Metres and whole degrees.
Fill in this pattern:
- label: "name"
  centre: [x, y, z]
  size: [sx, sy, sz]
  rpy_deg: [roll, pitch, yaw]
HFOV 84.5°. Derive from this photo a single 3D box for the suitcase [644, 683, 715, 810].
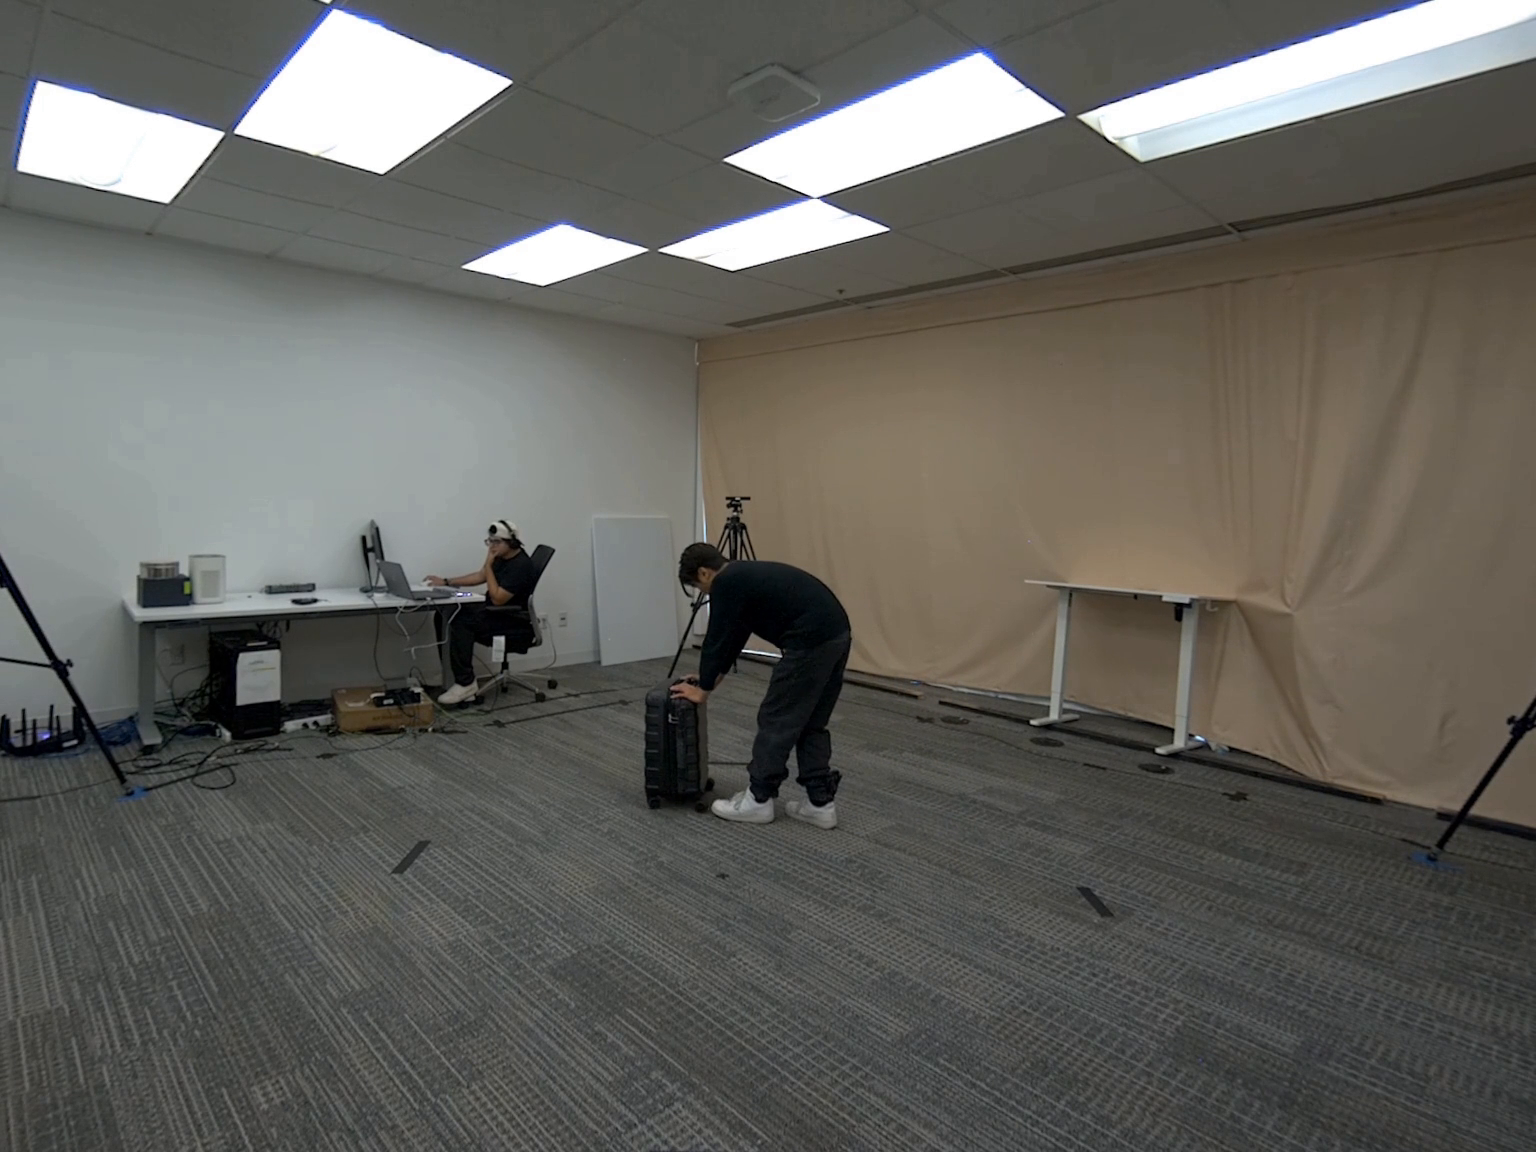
- label: "suitcase"
  centre: [-0.425, 0.751, 3.892]
  size: [0.249, 0.548, 0.374]
  rpy_deg: [0, 4, 5]
